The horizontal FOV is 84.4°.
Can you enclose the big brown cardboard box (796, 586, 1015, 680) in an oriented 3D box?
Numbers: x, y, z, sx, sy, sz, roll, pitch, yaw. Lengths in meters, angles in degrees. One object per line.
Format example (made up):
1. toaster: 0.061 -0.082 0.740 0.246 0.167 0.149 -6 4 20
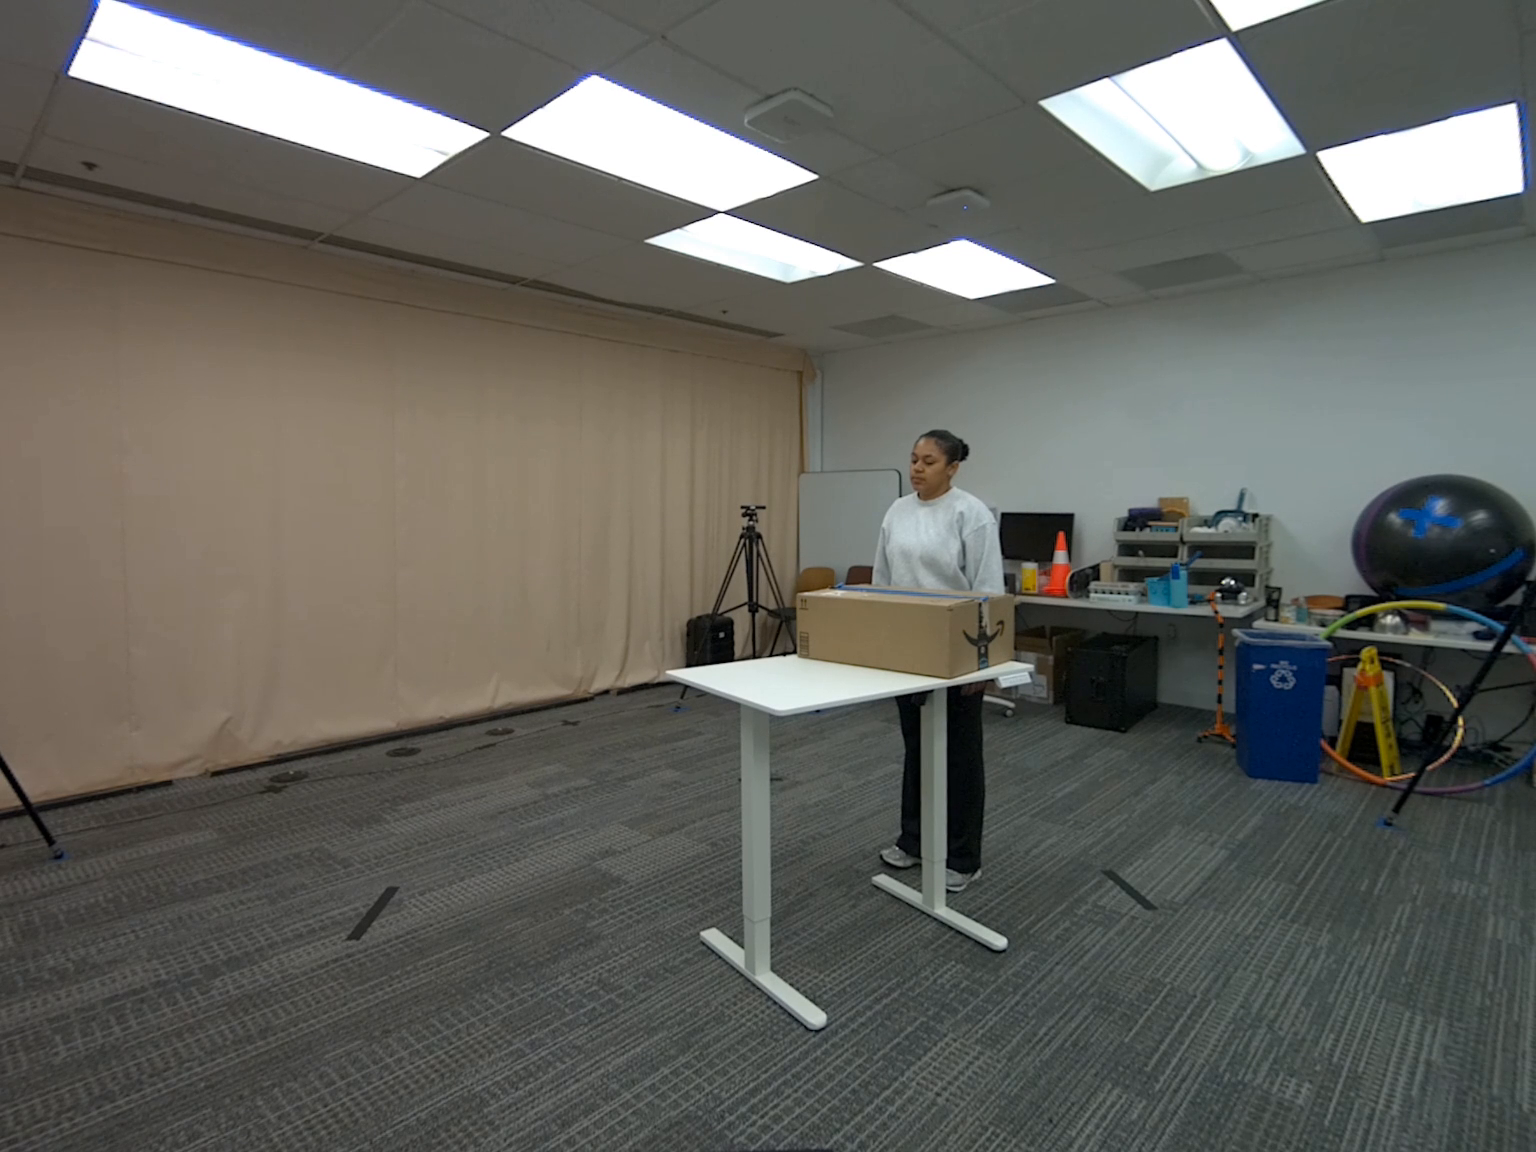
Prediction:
1. big brown cardboard box: 0.449 0.167 2.787 0.609 0.232 0.405 5 7 42
